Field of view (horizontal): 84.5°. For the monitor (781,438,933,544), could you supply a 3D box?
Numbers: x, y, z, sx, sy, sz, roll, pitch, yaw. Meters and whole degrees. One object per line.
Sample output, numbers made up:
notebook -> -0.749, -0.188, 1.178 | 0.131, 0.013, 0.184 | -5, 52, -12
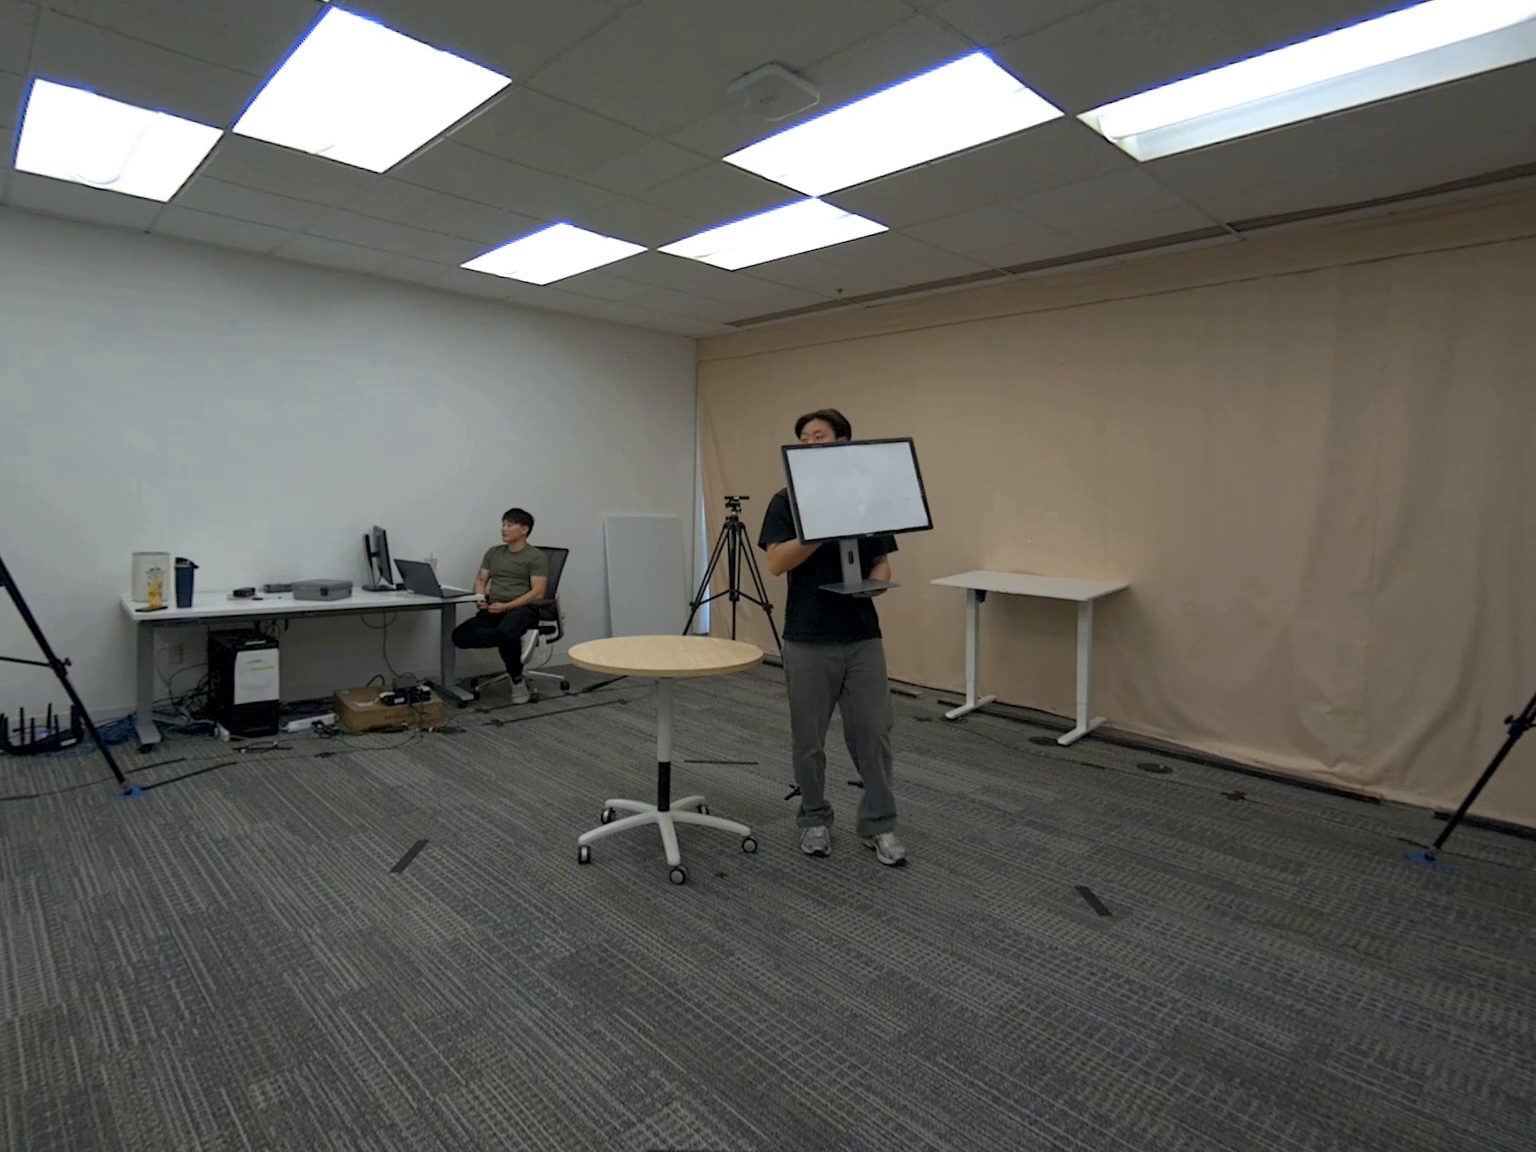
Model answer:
monitor -> 0.313, -0.213, 3.091 | 0.554, 0.563, 0.226 | -7, 6, -20
